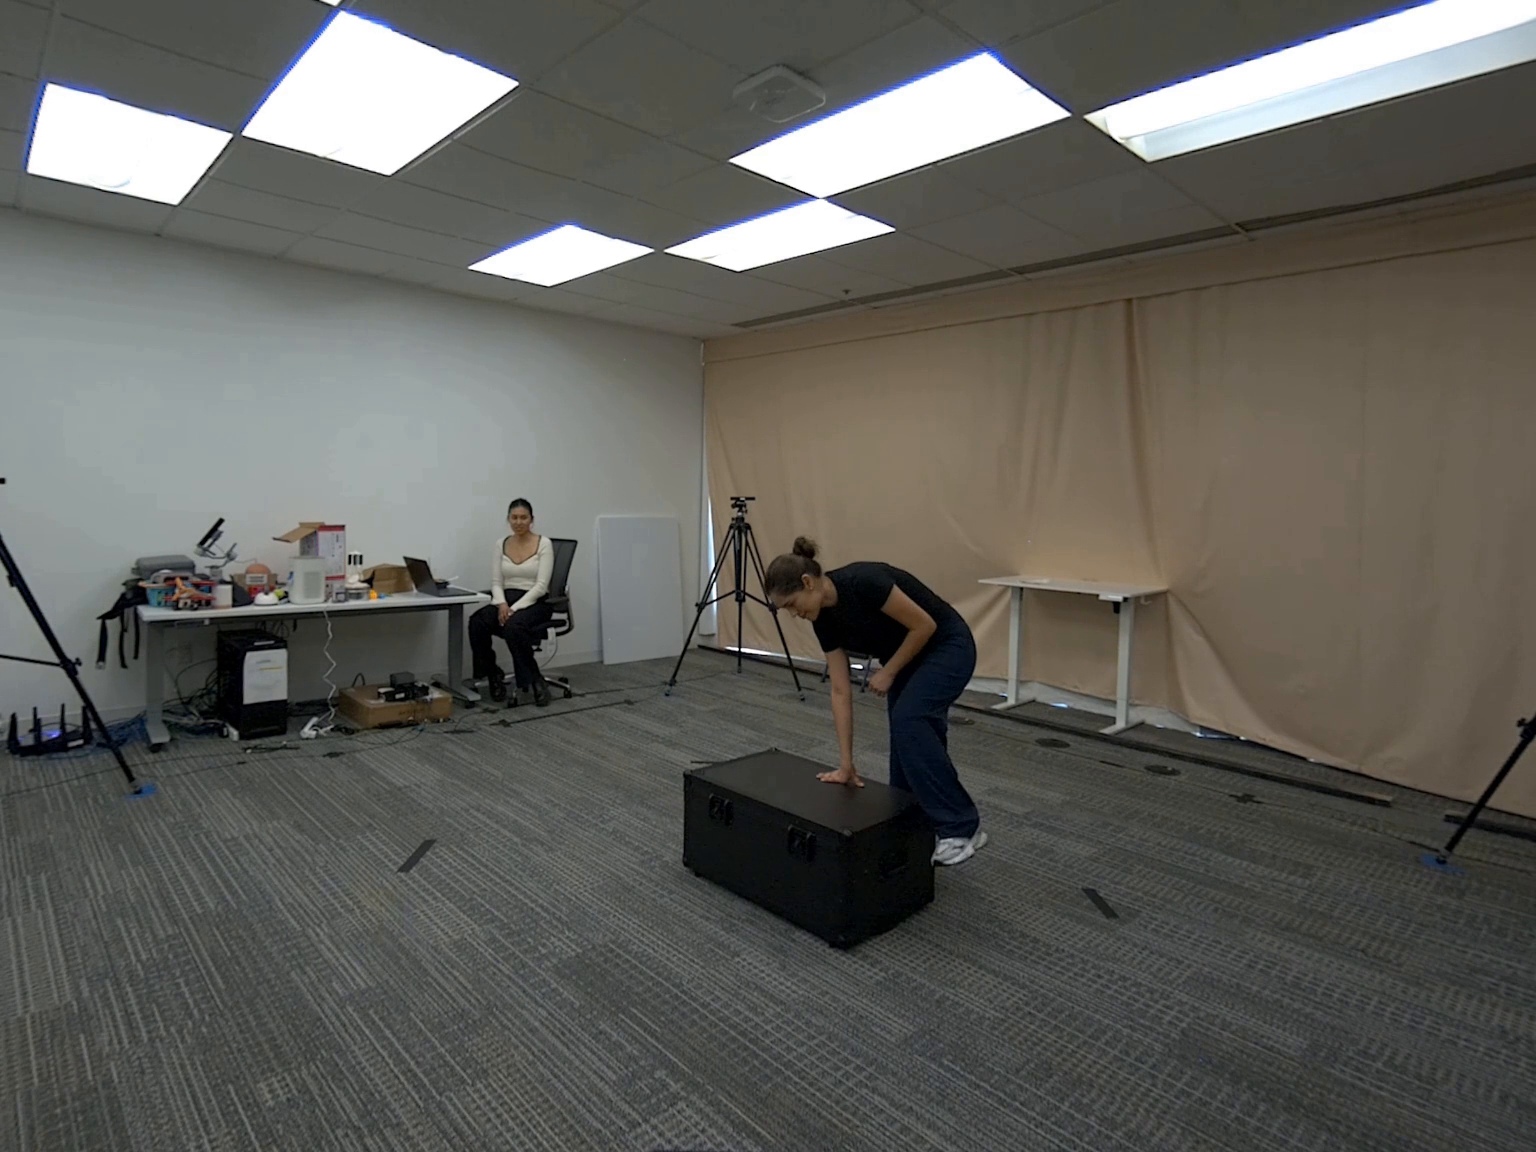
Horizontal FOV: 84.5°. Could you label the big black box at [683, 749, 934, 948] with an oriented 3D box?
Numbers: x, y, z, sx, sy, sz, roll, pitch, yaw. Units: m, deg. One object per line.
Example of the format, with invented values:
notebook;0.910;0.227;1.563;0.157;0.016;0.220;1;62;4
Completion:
big black box;0.099;0.913;3.015;0.509;0.395;0.883;-2;6;-45
